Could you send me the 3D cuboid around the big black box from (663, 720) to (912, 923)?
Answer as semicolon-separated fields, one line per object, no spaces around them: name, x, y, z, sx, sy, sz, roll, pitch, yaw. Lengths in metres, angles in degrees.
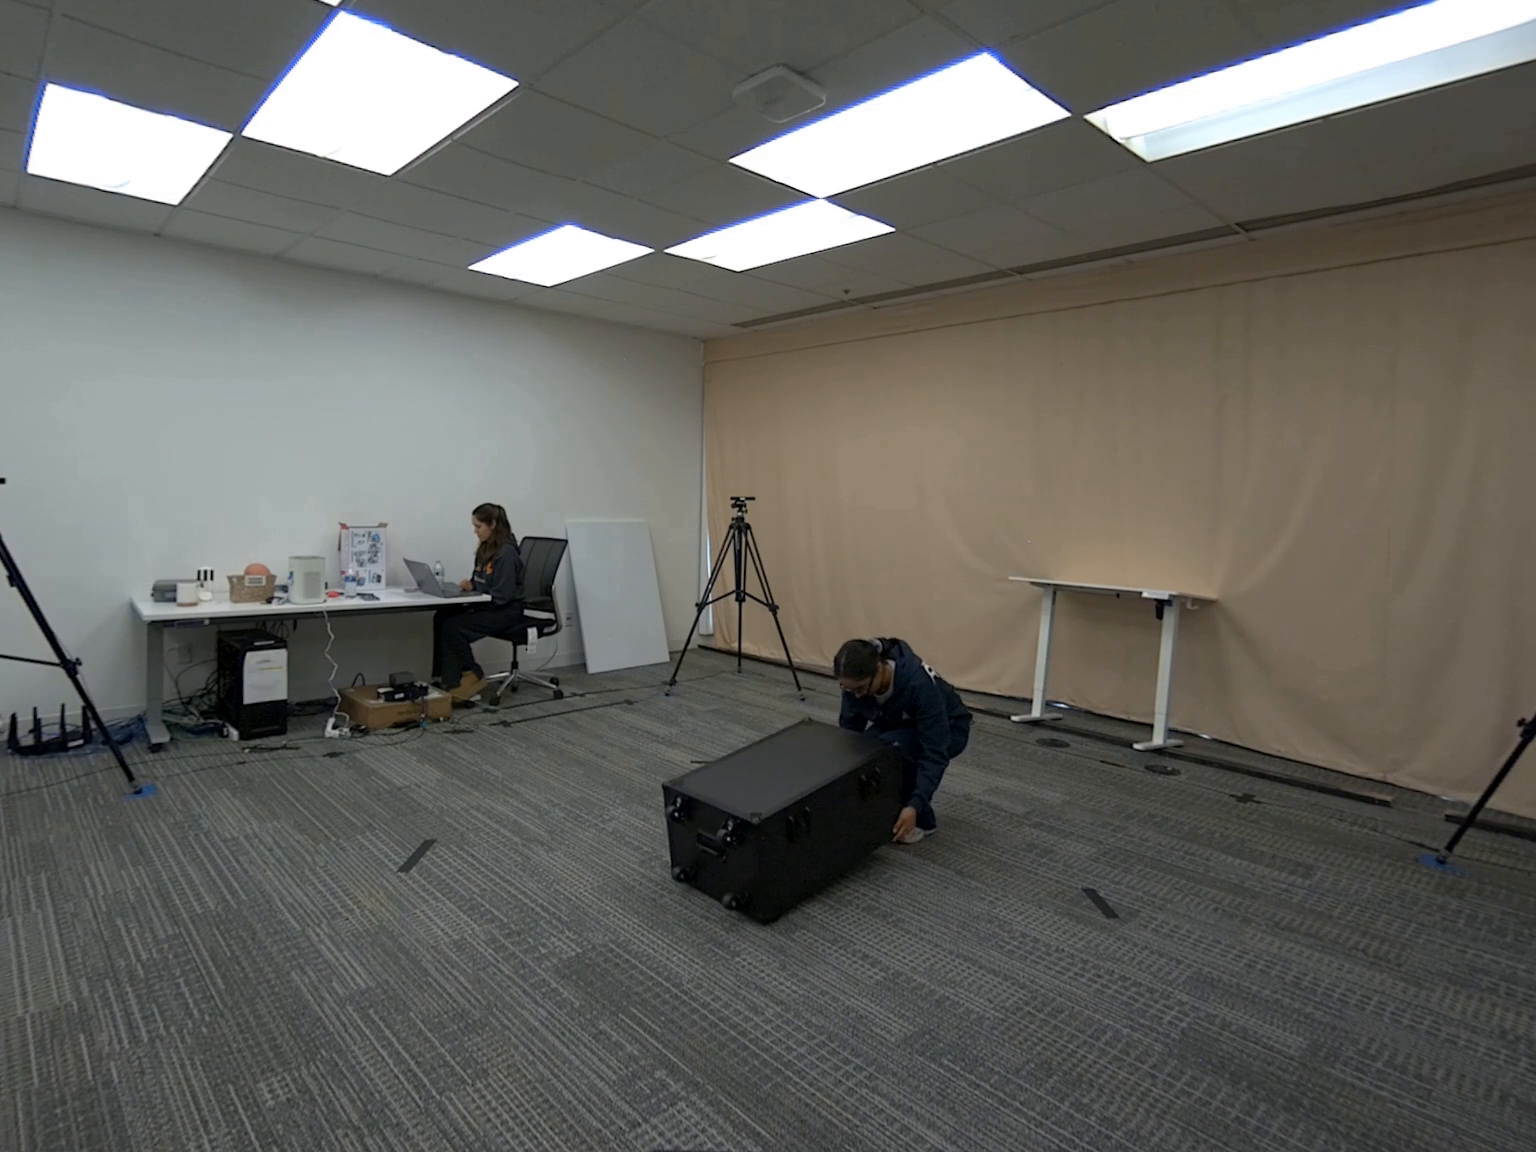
big black box;0.041;0.874;3.107;0.534;0.393;0.846;6;14;45
